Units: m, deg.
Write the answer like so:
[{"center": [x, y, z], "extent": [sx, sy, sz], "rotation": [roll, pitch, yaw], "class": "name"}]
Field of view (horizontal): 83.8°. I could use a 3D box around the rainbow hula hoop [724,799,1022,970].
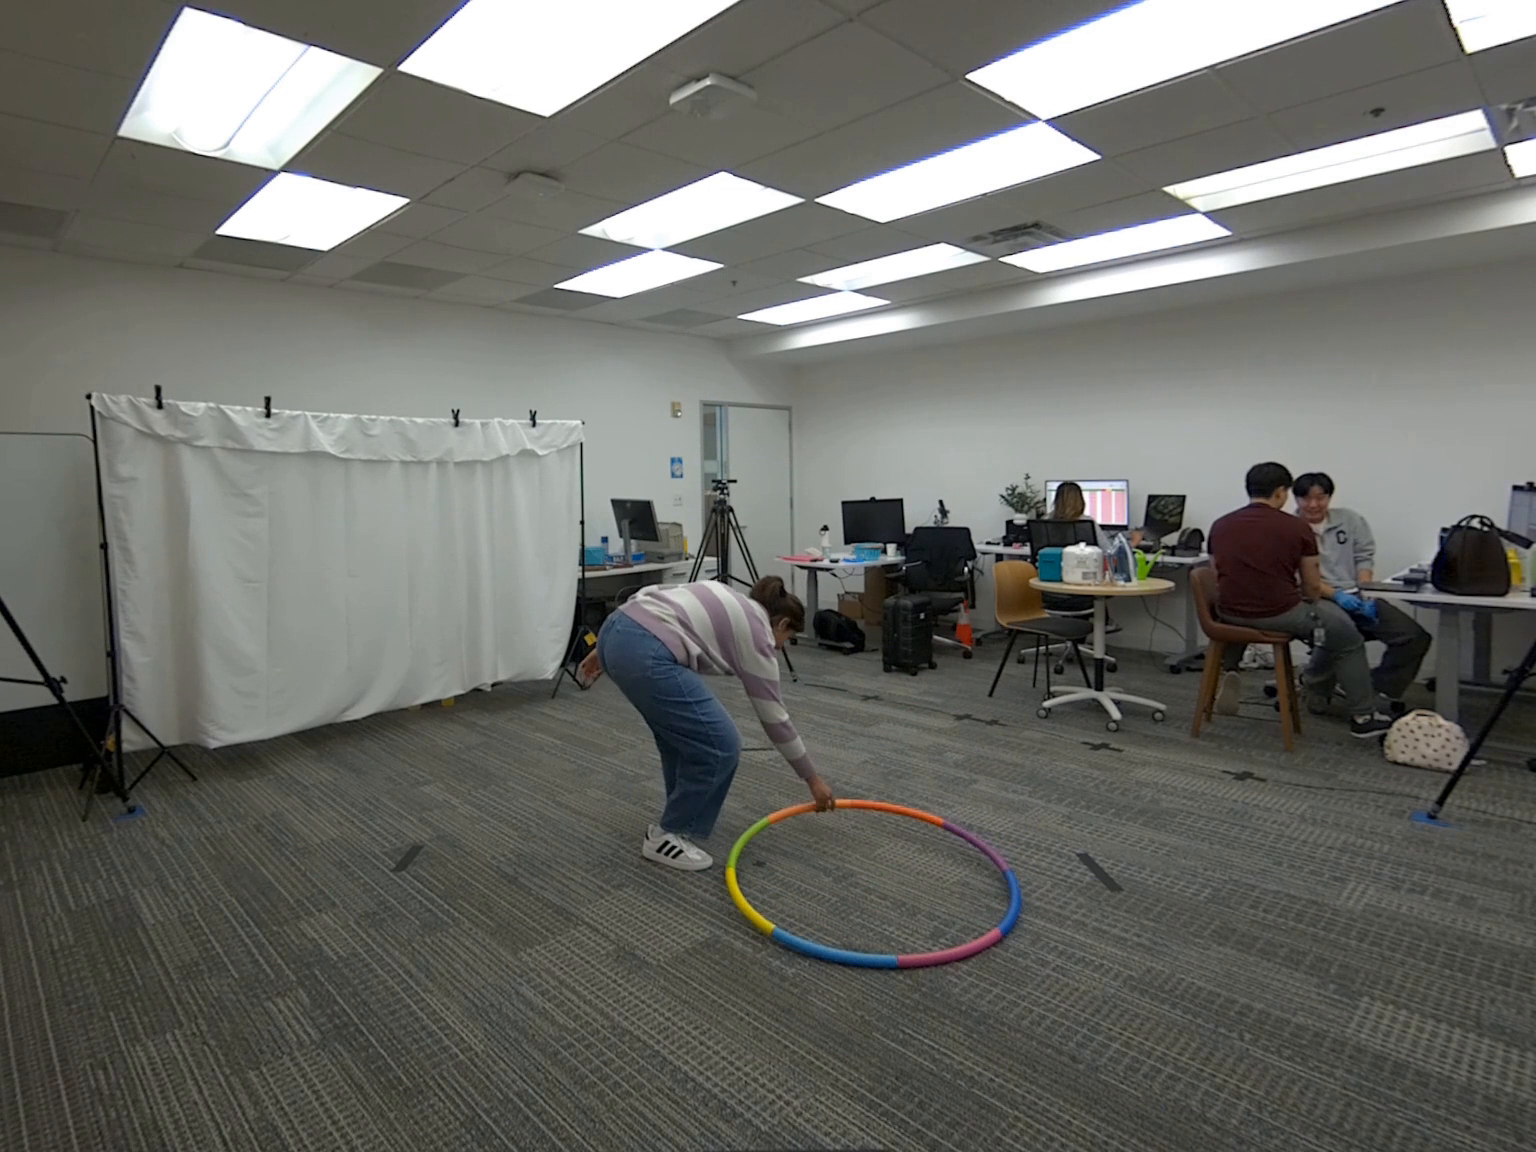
[{"center": [0.344, 0.994, 2.905], "extent": [0.978, 0.035, 0.989], "rotation": [0, 12, -2], "class": "rainbow hula hoop"}]
